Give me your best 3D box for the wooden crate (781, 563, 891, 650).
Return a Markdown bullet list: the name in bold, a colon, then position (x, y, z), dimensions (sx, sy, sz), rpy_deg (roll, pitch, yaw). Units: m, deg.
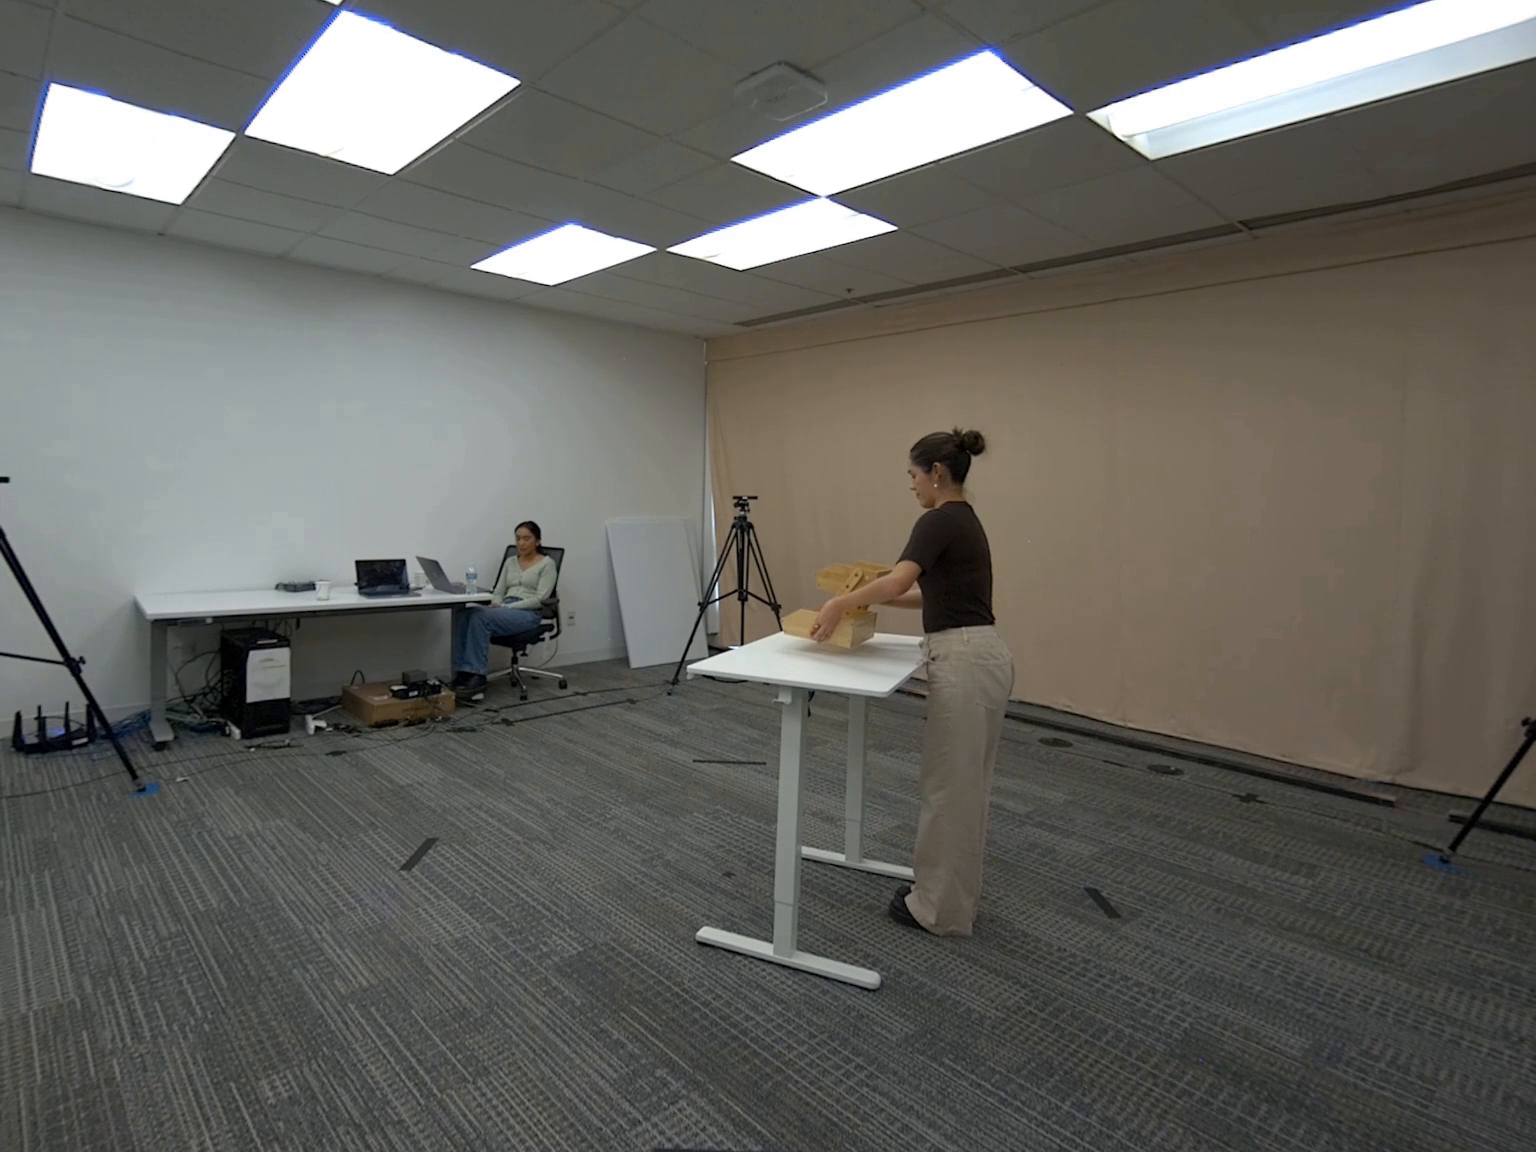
- **wooden crate**: position (0.248, 0.079, 2.878), dimensions (0.308, 0.272, 0.319), rpy_deg (11, 6, 22)
